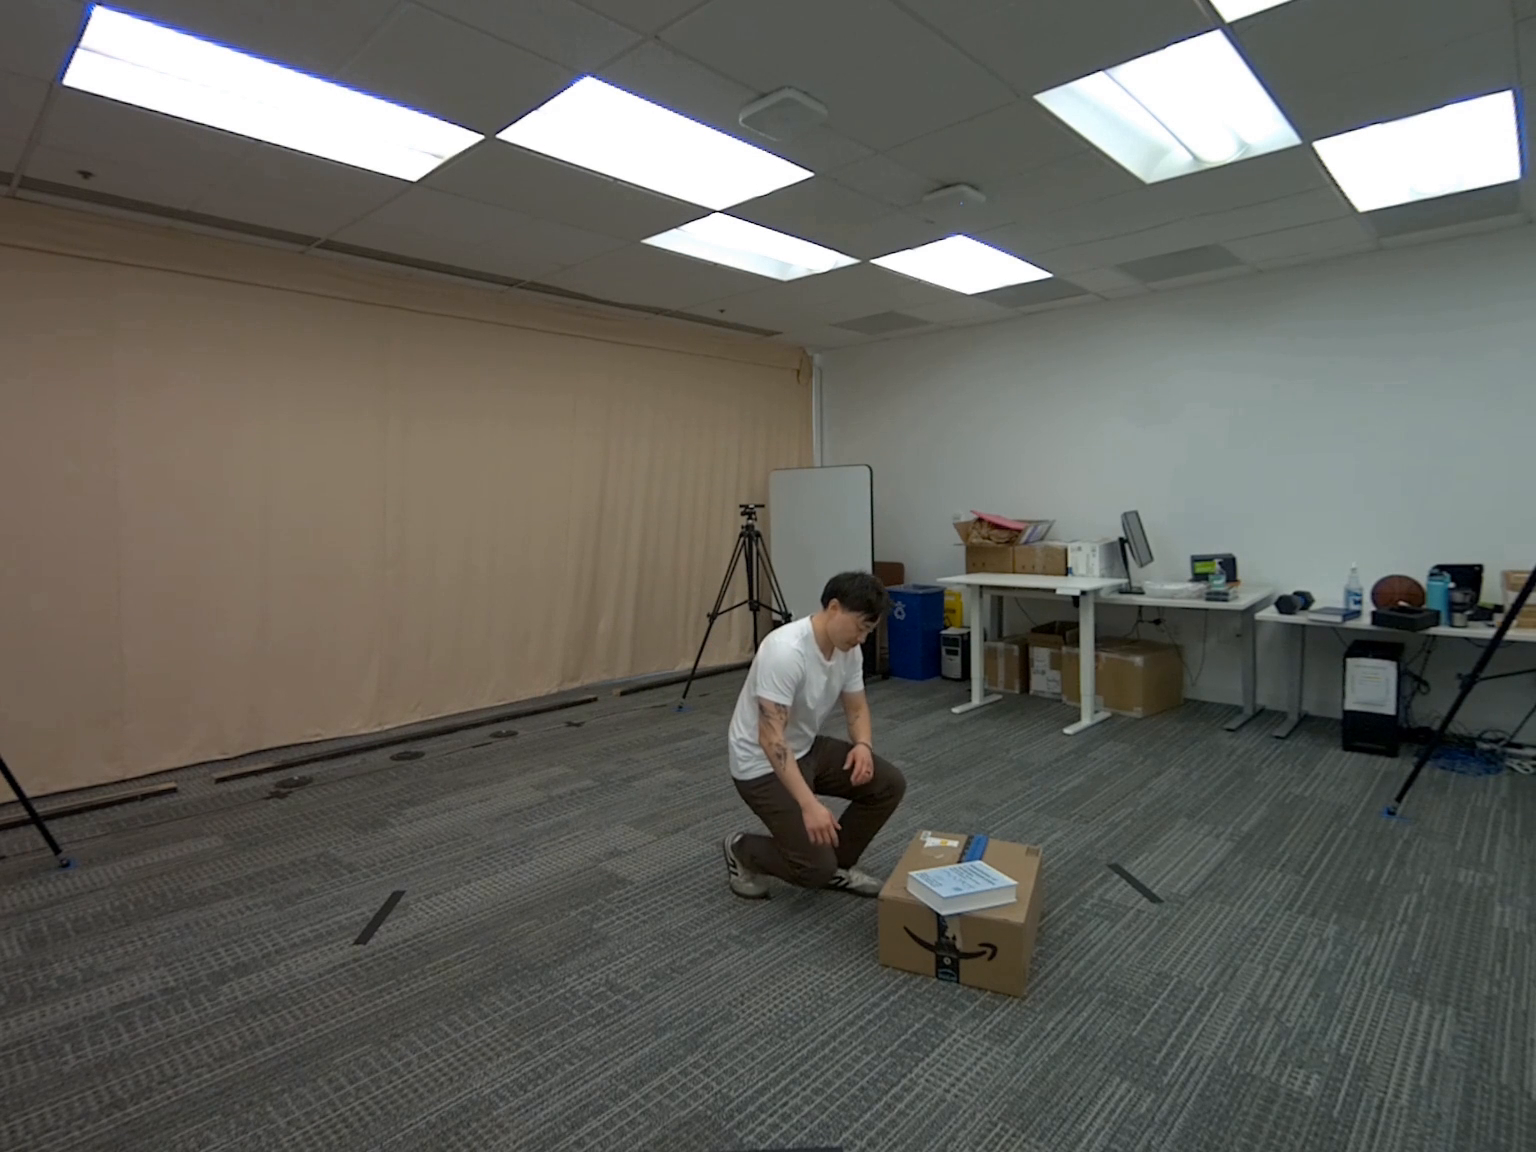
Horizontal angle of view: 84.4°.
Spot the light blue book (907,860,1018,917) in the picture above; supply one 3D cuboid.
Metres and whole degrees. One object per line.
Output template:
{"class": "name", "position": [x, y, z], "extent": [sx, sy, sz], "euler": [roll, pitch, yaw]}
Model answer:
{"class": "light blue book", "position": [0.600, 0.936, 2.507], "extent": [0.256, 0.059, 0.196], "euler": [-2, 4, -21]}
